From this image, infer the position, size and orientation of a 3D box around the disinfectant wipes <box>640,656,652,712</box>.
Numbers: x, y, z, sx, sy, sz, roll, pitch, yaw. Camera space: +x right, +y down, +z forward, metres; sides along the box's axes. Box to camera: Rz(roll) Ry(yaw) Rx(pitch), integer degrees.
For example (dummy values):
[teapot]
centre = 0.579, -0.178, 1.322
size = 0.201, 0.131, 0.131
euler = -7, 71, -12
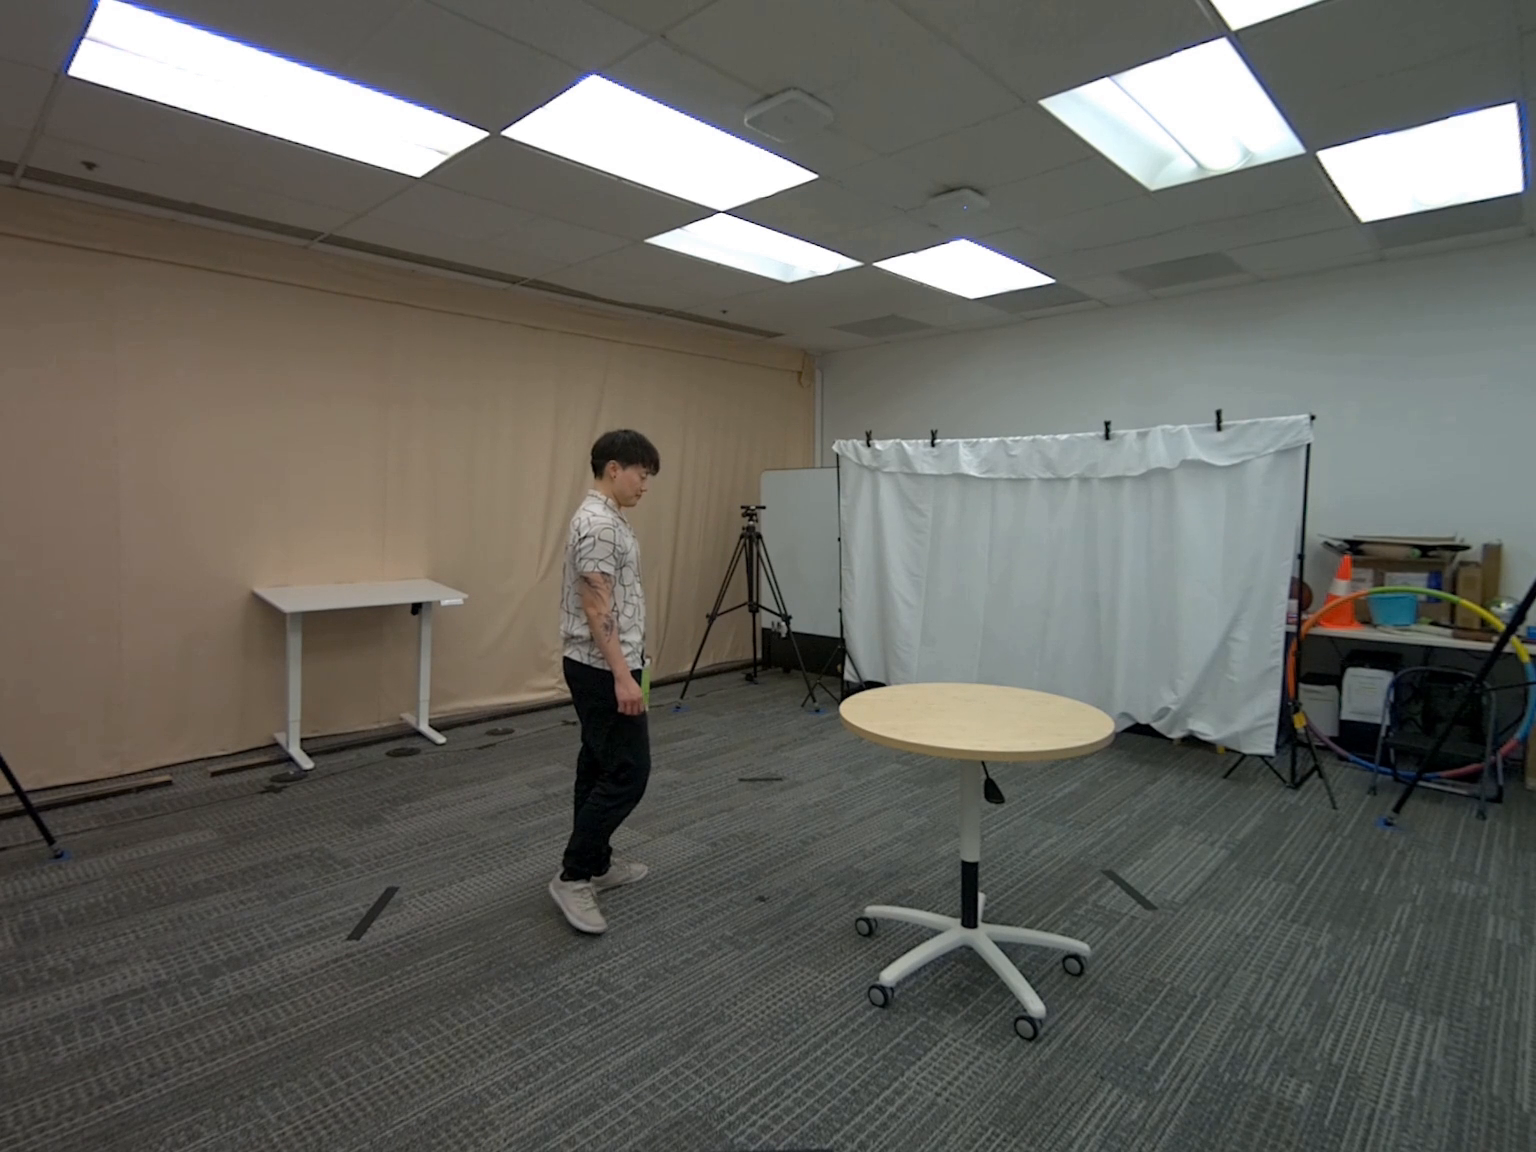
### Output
[disinfectant wipes]
centre = -0.537, 0.440, 3.367
size = 0.117, 0.217, 0.118
euler = 4, 2, -2
